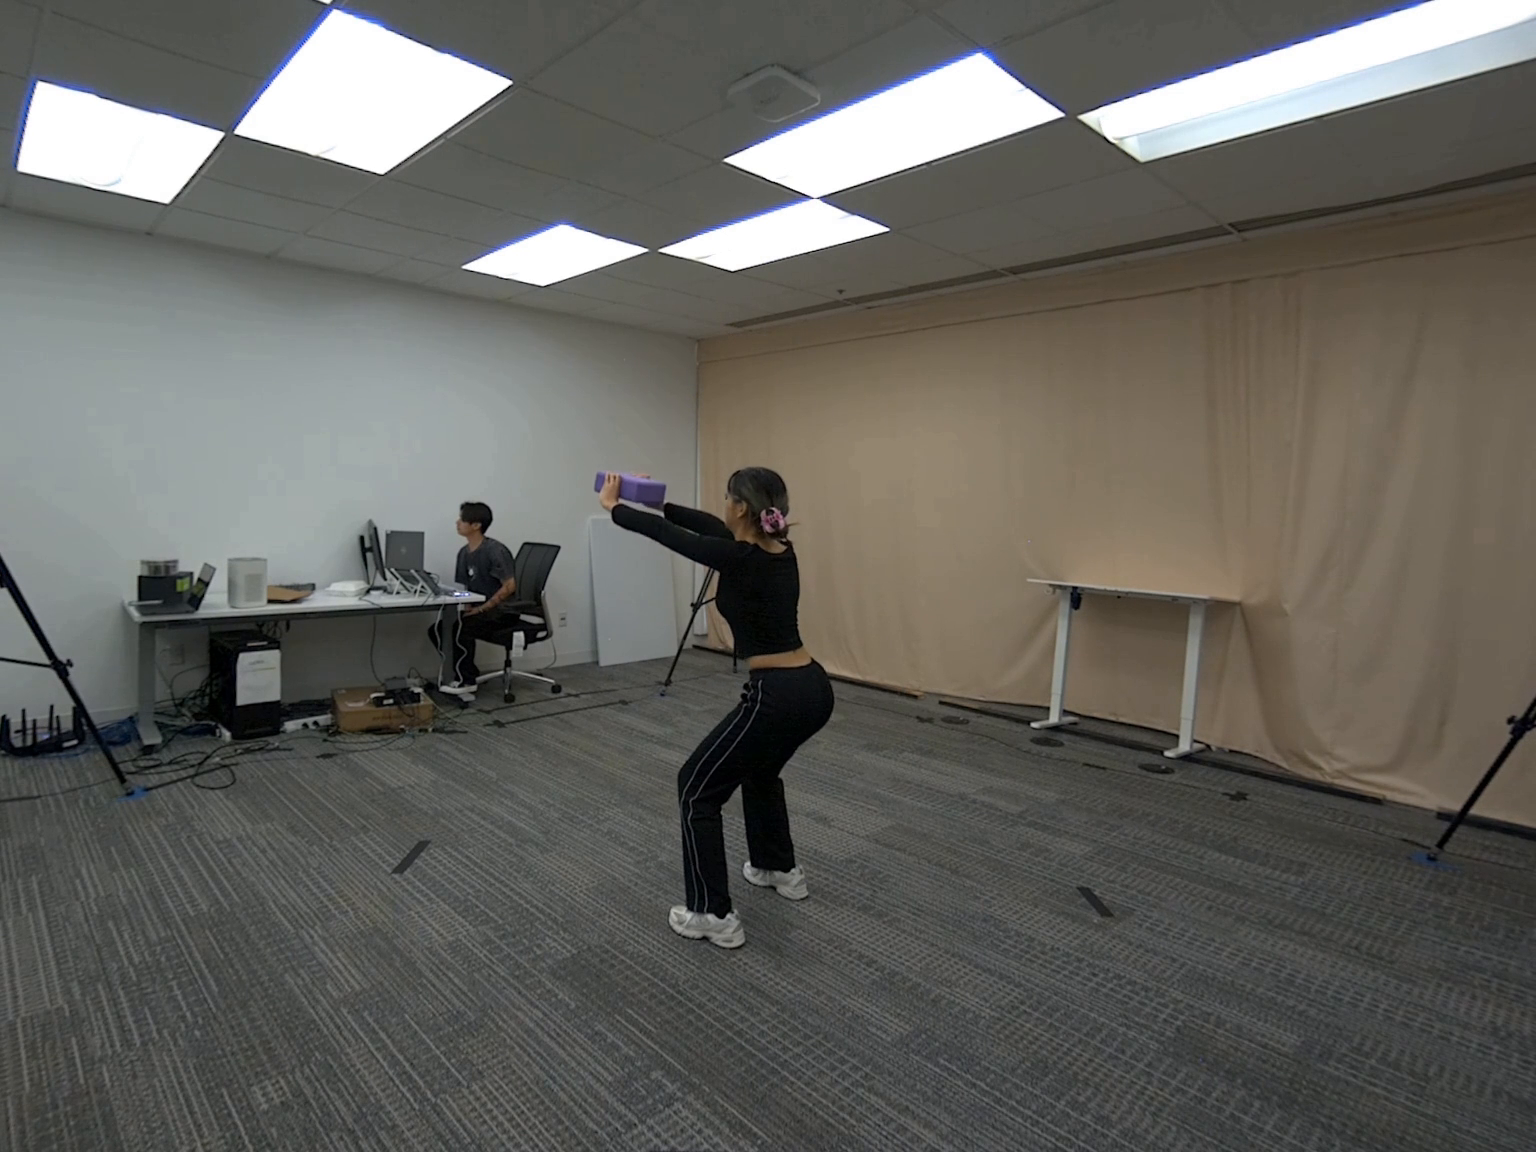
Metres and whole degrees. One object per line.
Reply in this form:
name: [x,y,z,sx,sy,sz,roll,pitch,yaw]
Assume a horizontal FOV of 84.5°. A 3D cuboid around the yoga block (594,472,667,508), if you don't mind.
yoga block: [-0.510,-0.324,3.053,0.235,0.076,0.146,14,12,31]
